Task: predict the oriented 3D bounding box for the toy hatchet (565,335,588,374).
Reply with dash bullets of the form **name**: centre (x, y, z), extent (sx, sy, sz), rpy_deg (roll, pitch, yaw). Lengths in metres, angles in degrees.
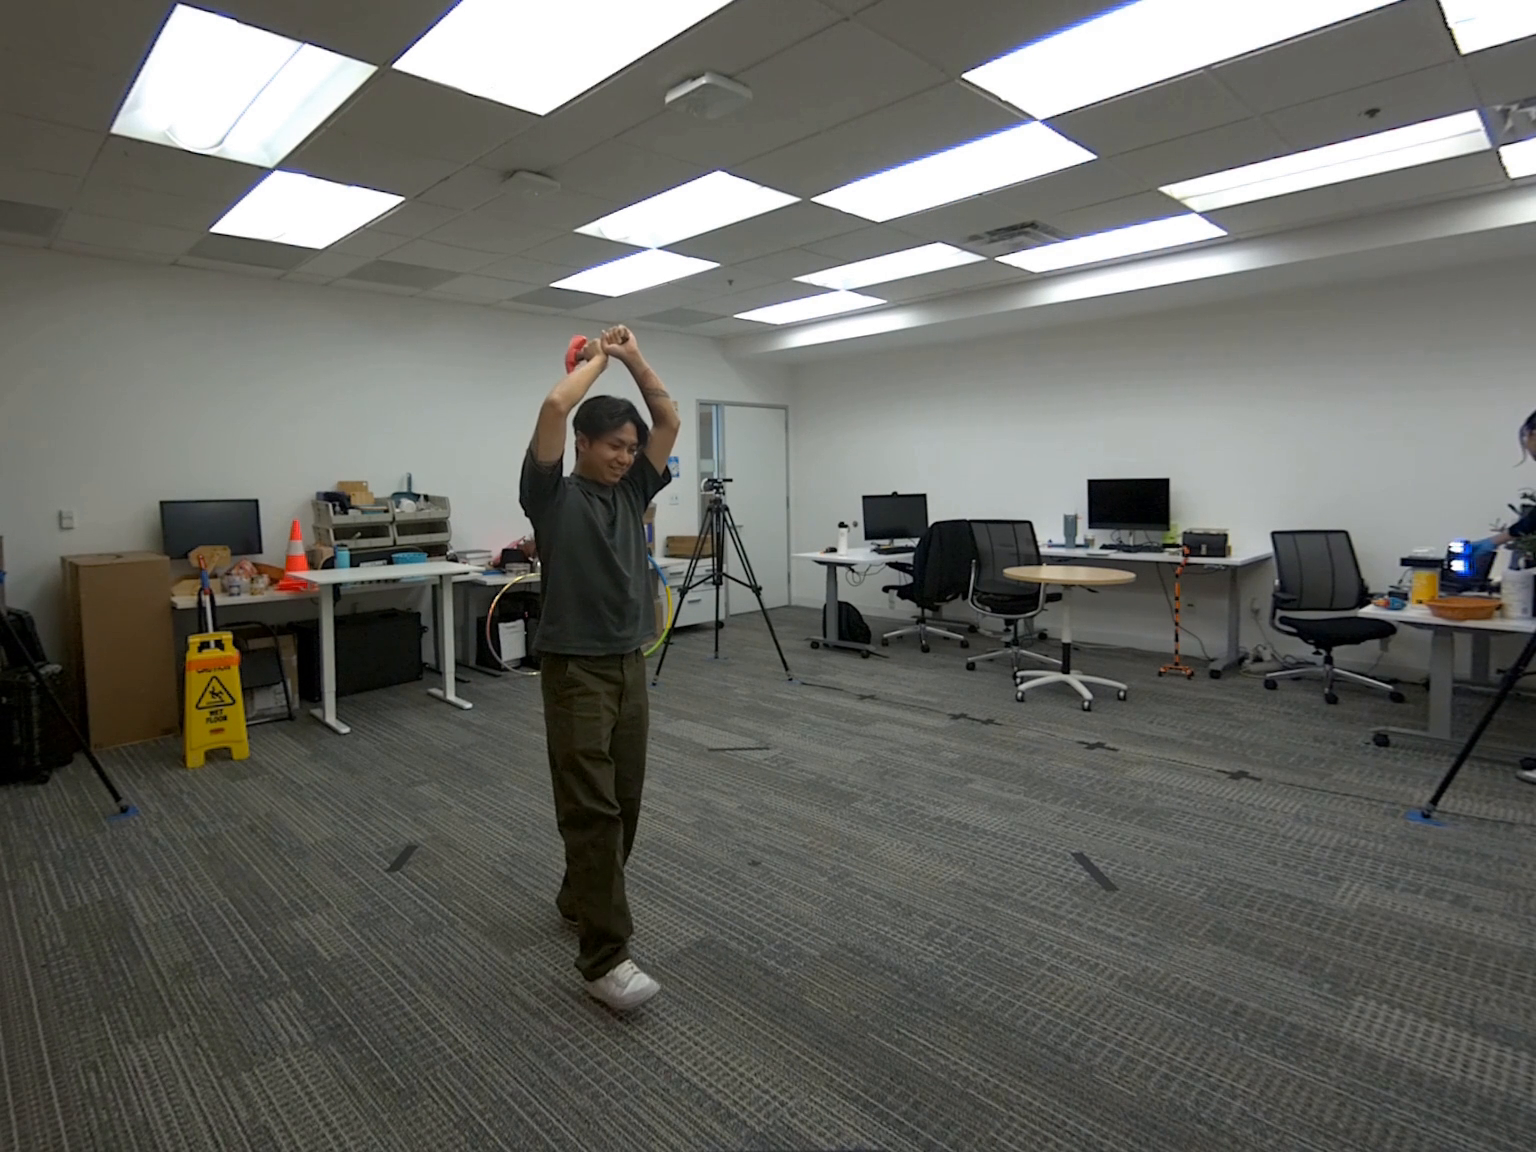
- **toy hatchet**: centre (-0.521, -0.698, 2.550), extent (0.274, 0.133, 0.028), rpy_deg (-21, -22, 38)
